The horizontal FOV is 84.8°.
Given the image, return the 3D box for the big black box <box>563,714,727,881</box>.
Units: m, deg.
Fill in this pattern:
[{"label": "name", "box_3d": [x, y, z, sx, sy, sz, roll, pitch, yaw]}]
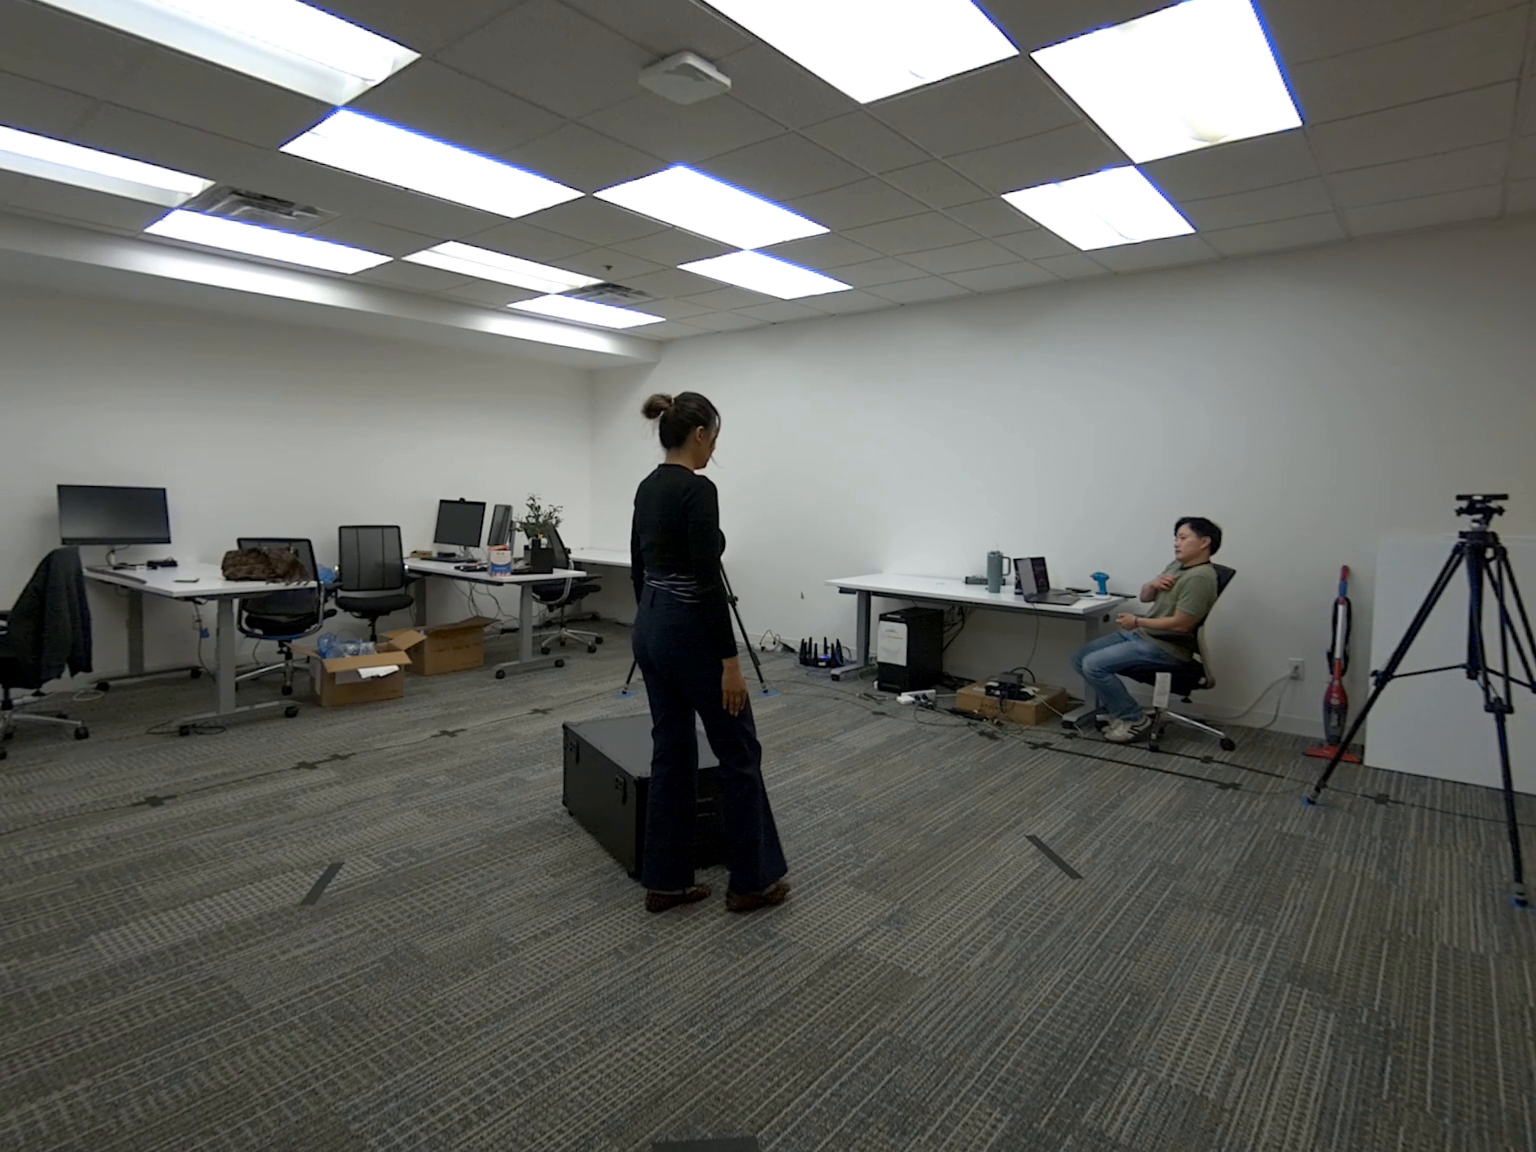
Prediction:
[{"label": "big black box", "box_3d": [-0.495, 0.841, 3.436, 0.507, 0.395, 0.889, -1, 6, -31]}]
